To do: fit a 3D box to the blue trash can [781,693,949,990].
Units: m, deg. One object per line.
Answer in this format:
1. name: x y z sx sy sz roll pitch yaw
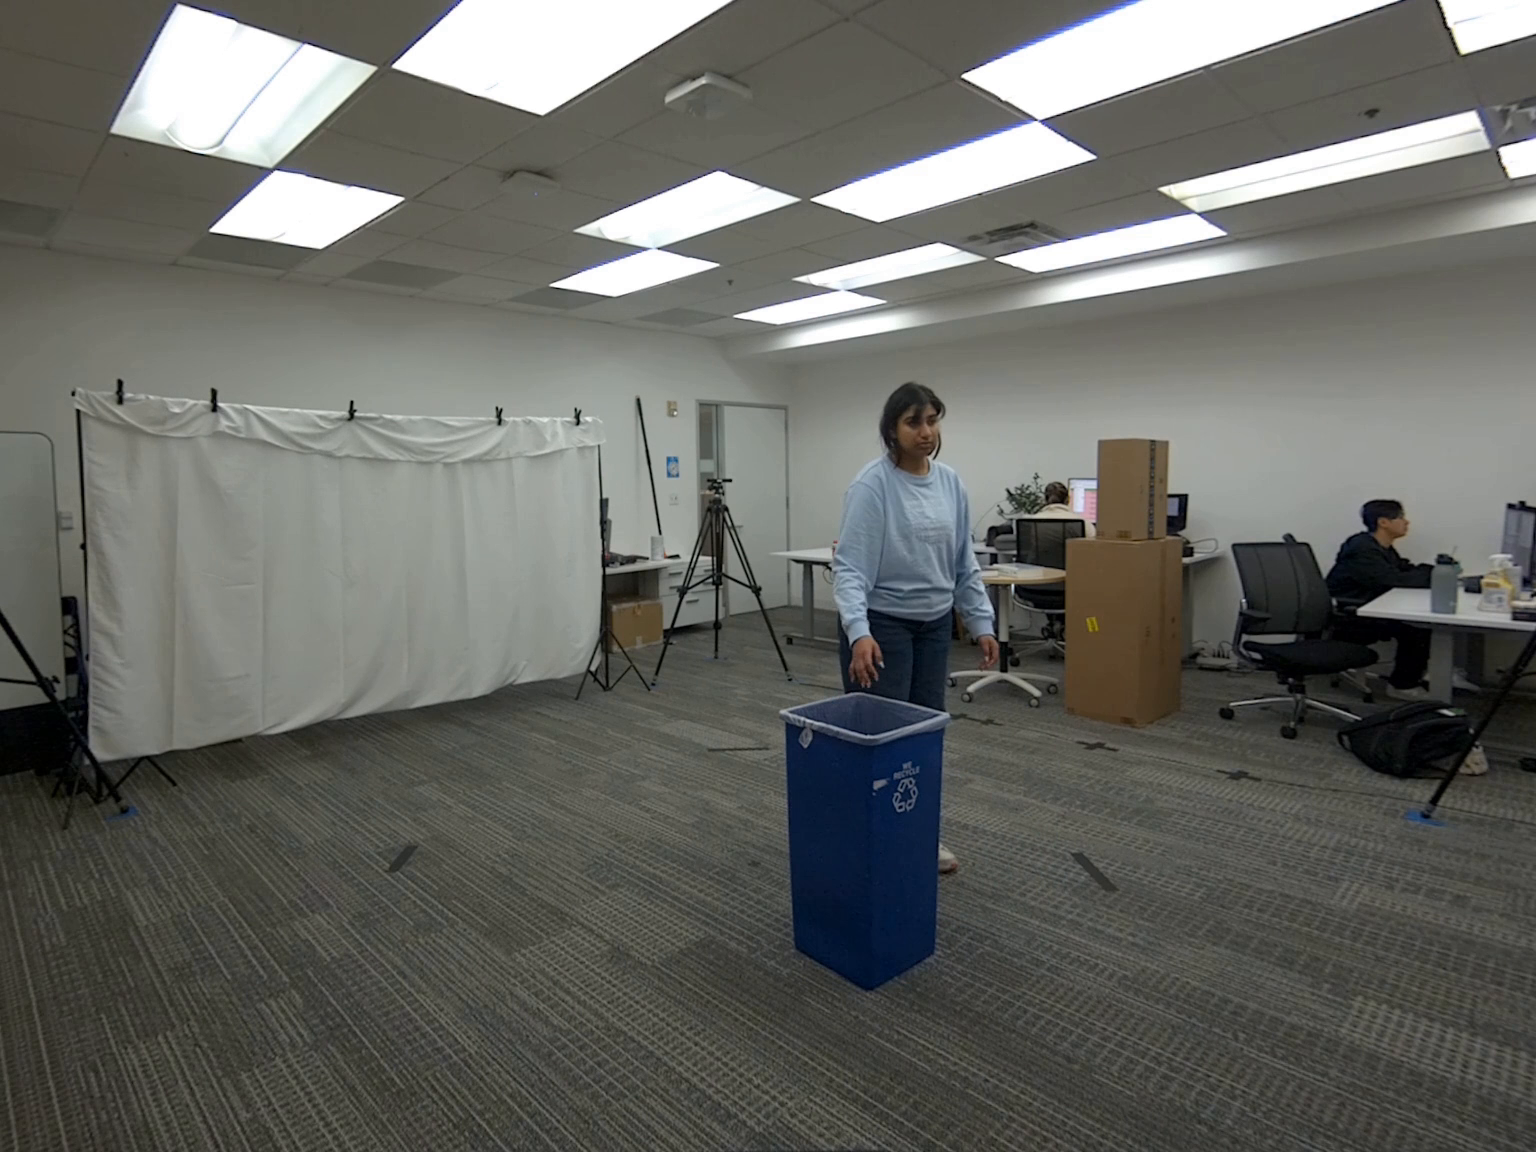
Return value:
1. blue trash can: 0.289 0.753 2.512 0.364 0.711 0.390 -4 6 -42
